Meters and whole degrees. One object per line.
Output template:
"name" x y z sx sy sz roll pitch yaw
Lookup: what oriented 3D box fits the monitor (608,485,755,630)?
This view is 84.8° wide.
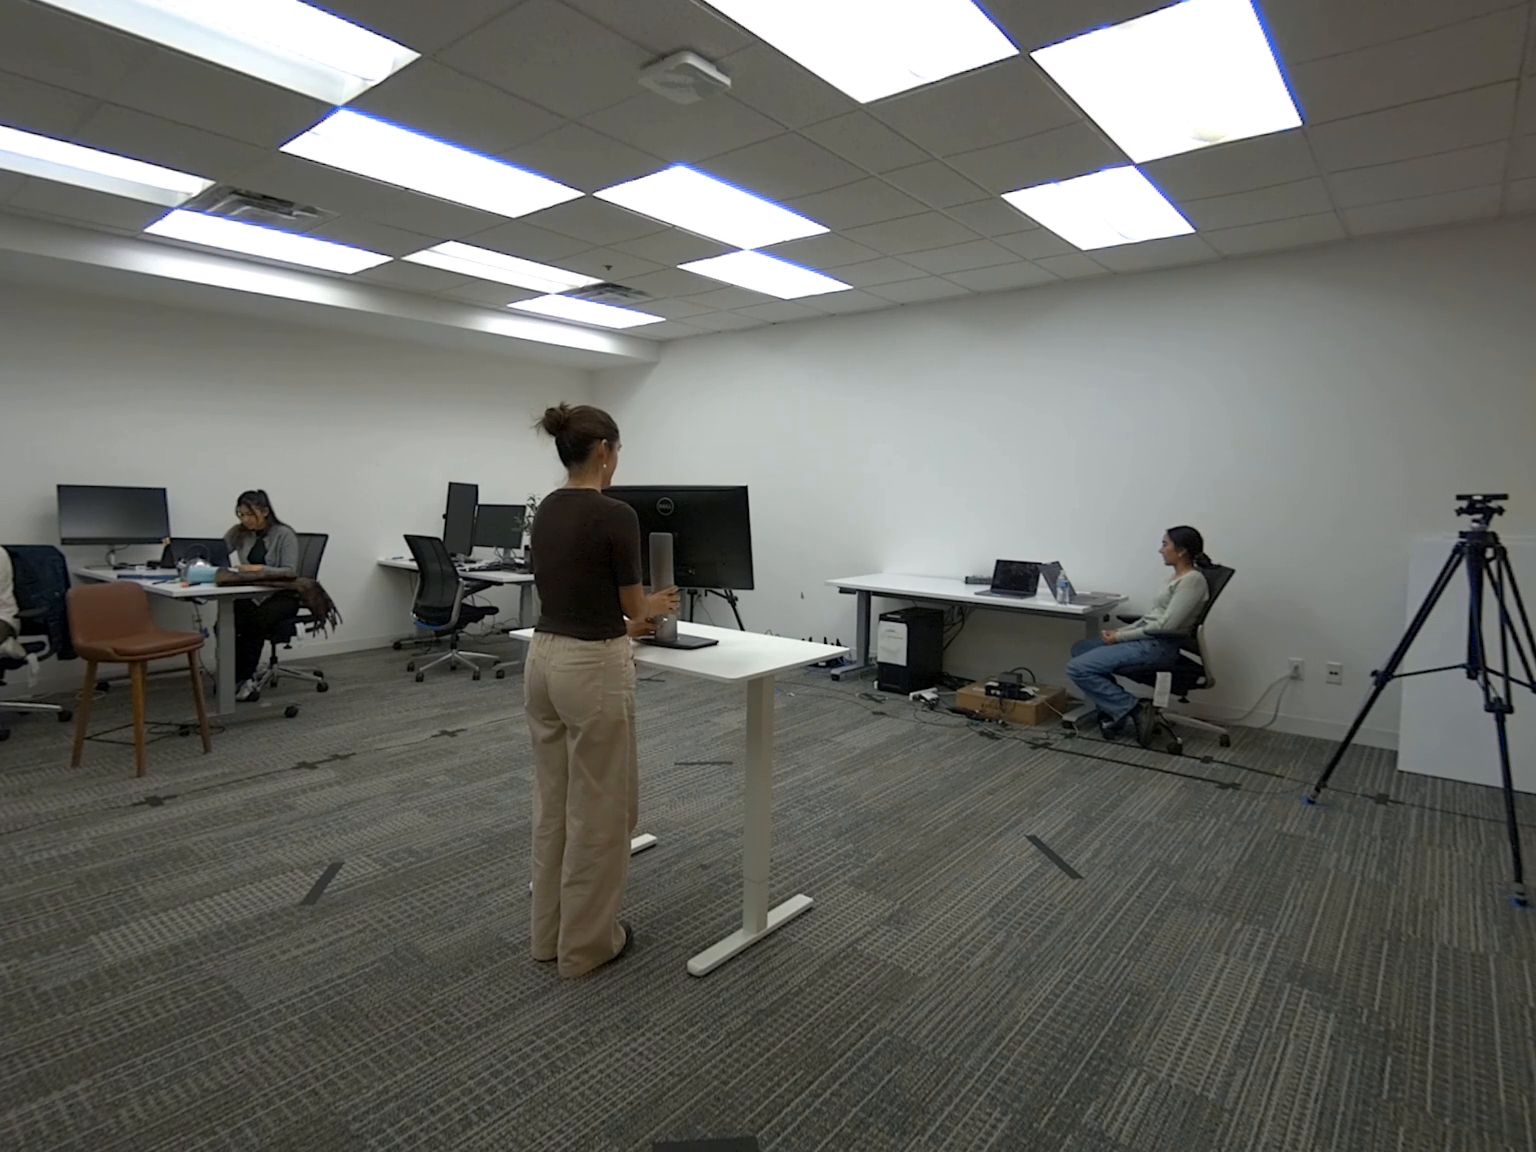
"monitor" -0.331 -0.039 2.770 0.547 0.520 0.185 1 5 13
